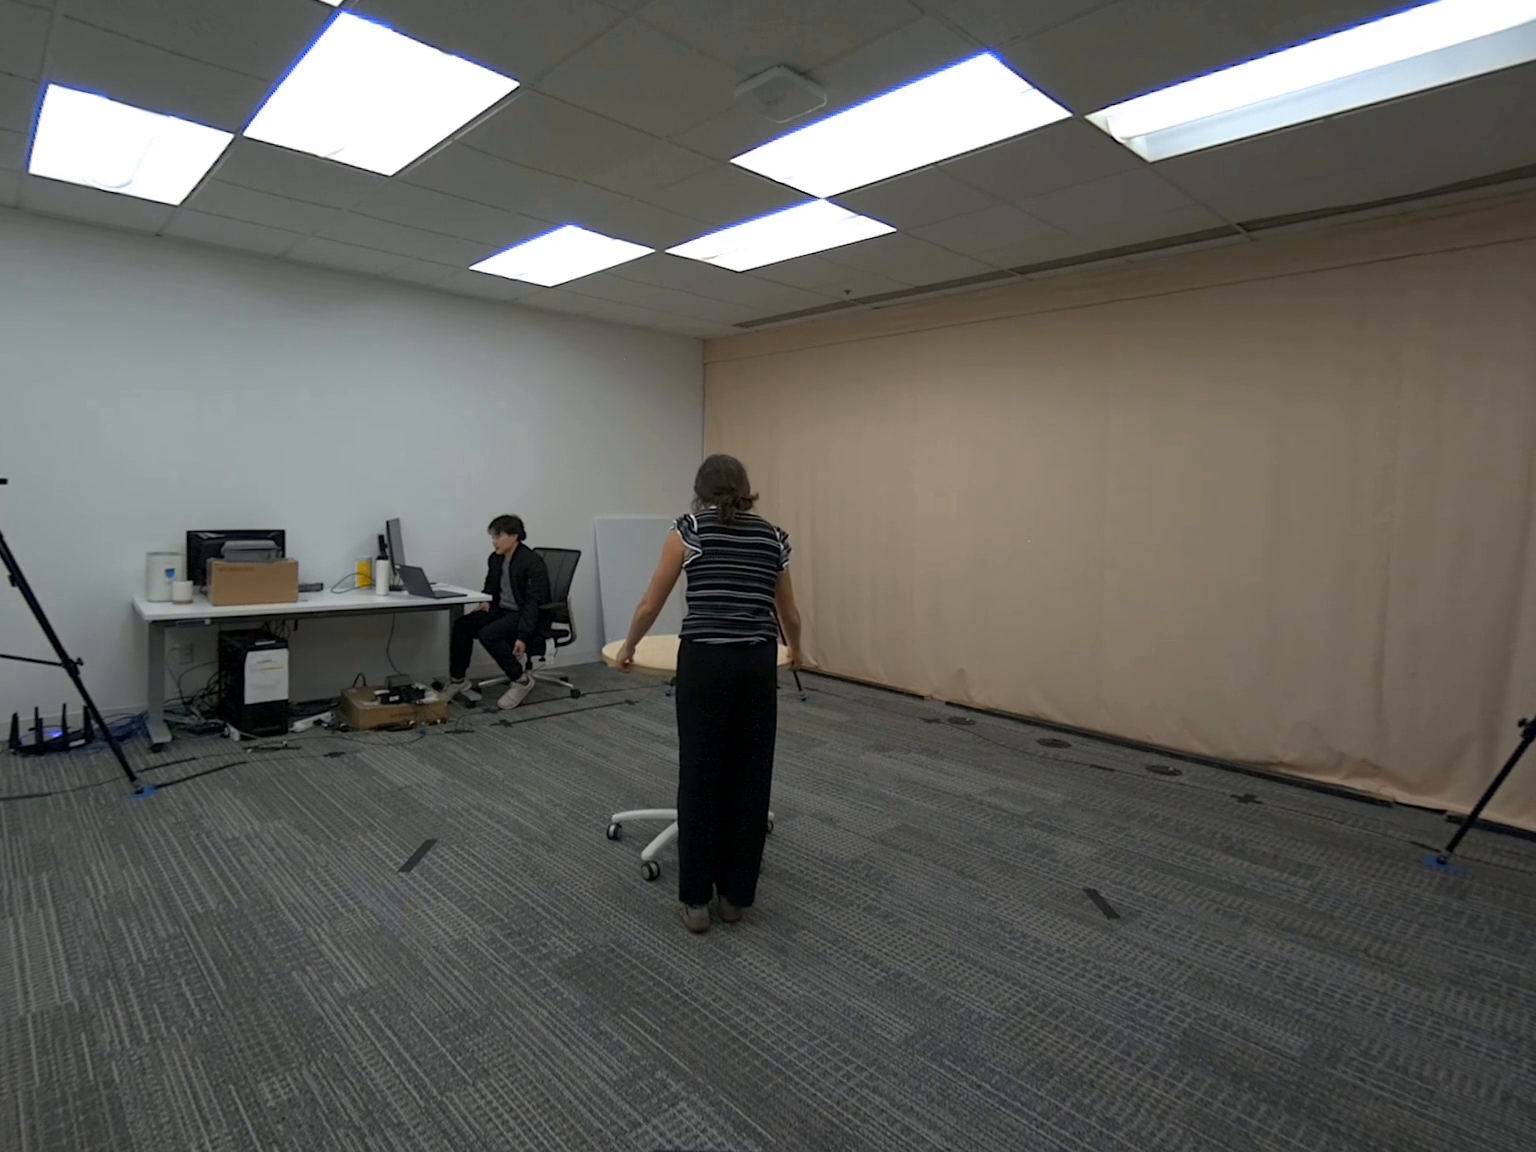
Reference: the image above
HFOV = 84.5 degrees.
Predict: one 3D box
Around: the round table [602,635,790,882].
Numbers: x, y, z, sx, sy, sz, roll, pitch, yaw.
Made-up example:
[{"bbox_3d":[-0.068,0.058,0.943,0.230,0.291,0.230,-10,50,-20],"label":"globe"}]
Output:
[{"bbox_3d":[-0.298,0.689,3.337,0.784,0.784,0.788,2,4,-1],"label":"round table"}]
